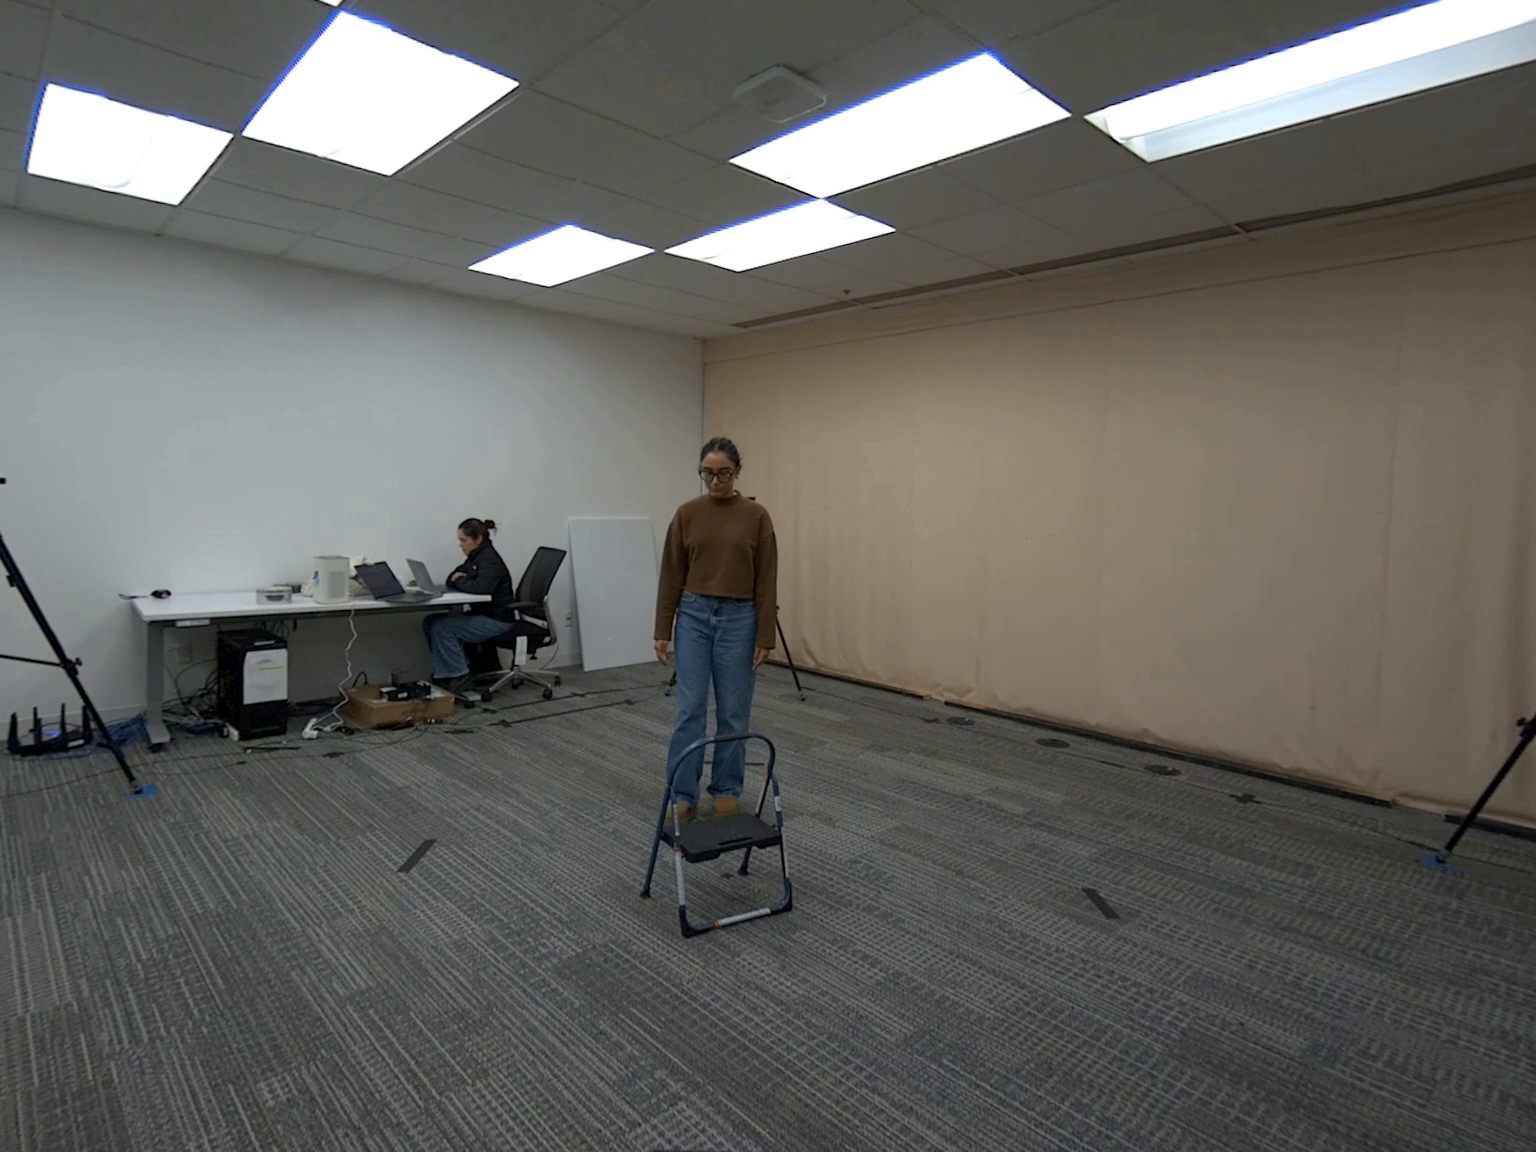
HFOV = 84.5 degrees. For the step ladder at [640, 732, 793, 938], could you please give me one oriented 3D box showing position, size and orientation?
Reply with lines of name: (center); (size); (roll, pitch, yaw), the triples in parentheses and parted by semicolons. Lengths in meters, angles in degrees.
step ladder: (-0.179, 0.823, 2.879); (0.422, 0.604, 0.357); (-1, 5, -32)
